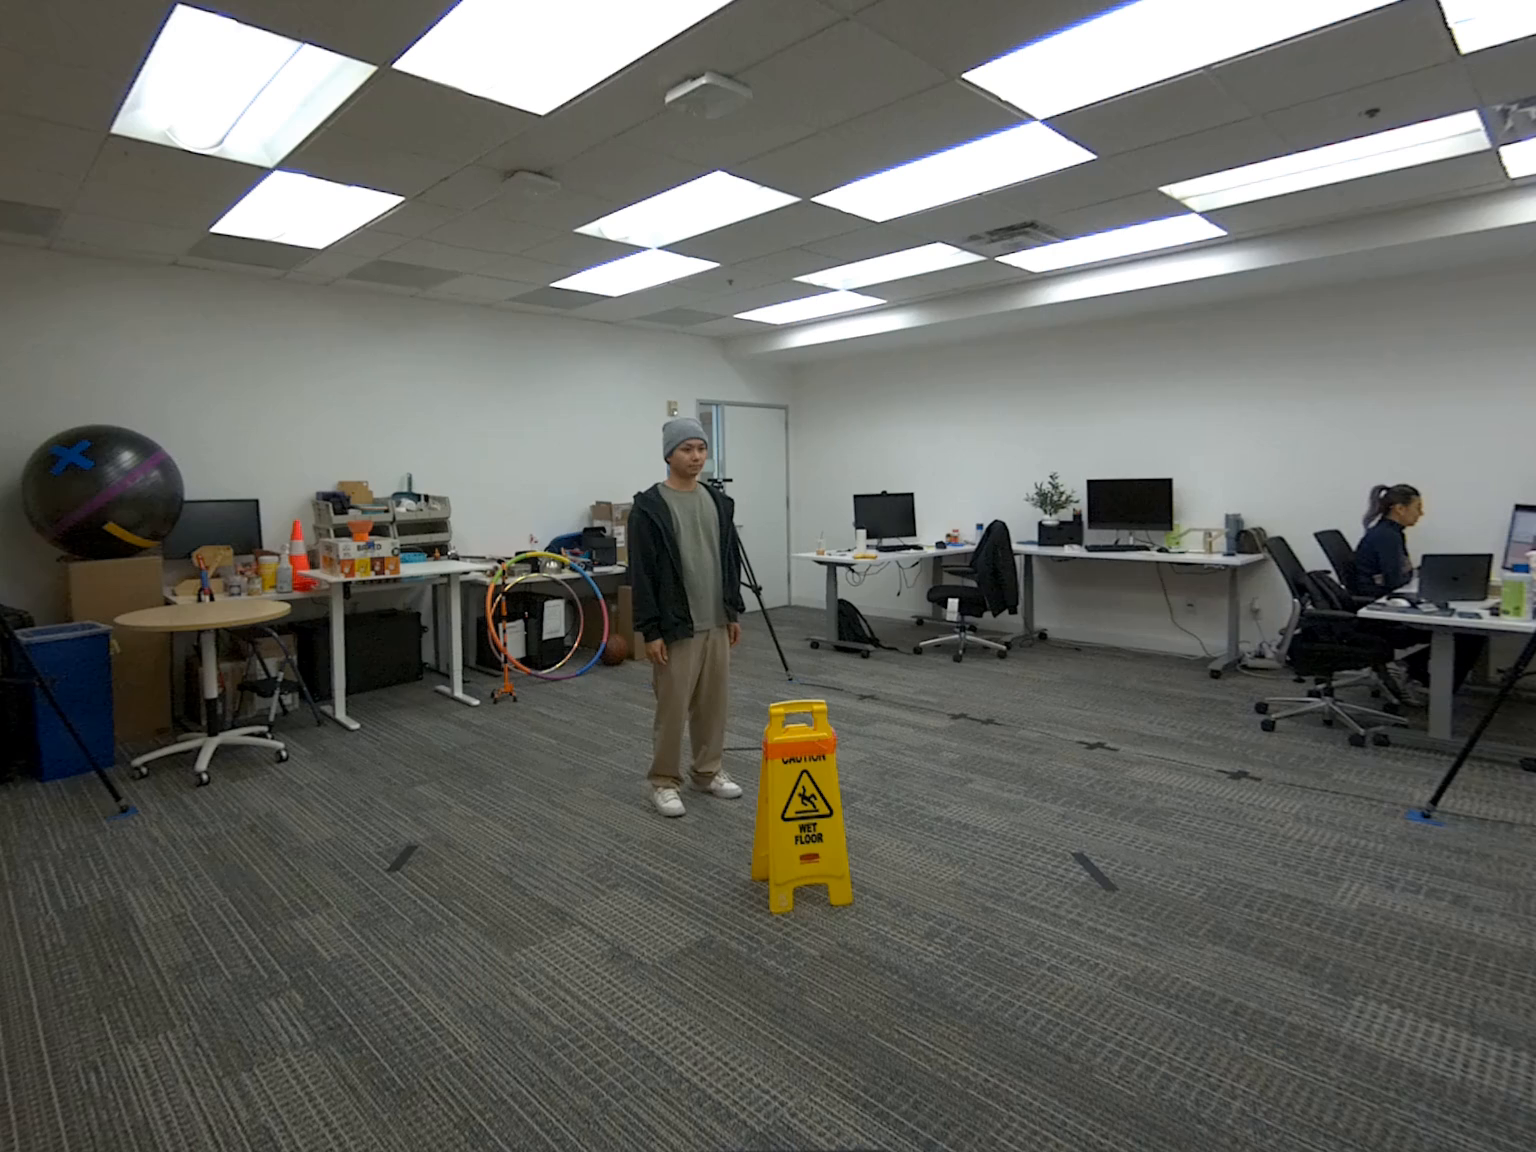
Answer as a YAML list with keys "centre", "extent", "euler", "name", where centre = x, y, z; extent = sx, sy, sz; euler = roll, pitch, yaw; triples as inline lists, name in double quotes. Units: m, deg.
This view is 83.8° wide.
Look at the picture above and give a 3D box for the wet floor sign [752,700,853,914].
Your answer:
- centre: [0.108, 0.737, 2.868]
  extent: [0.279, 0.644, 0.294]
  euler: [-3, 4, -13]
  name: "wet floor sign"
